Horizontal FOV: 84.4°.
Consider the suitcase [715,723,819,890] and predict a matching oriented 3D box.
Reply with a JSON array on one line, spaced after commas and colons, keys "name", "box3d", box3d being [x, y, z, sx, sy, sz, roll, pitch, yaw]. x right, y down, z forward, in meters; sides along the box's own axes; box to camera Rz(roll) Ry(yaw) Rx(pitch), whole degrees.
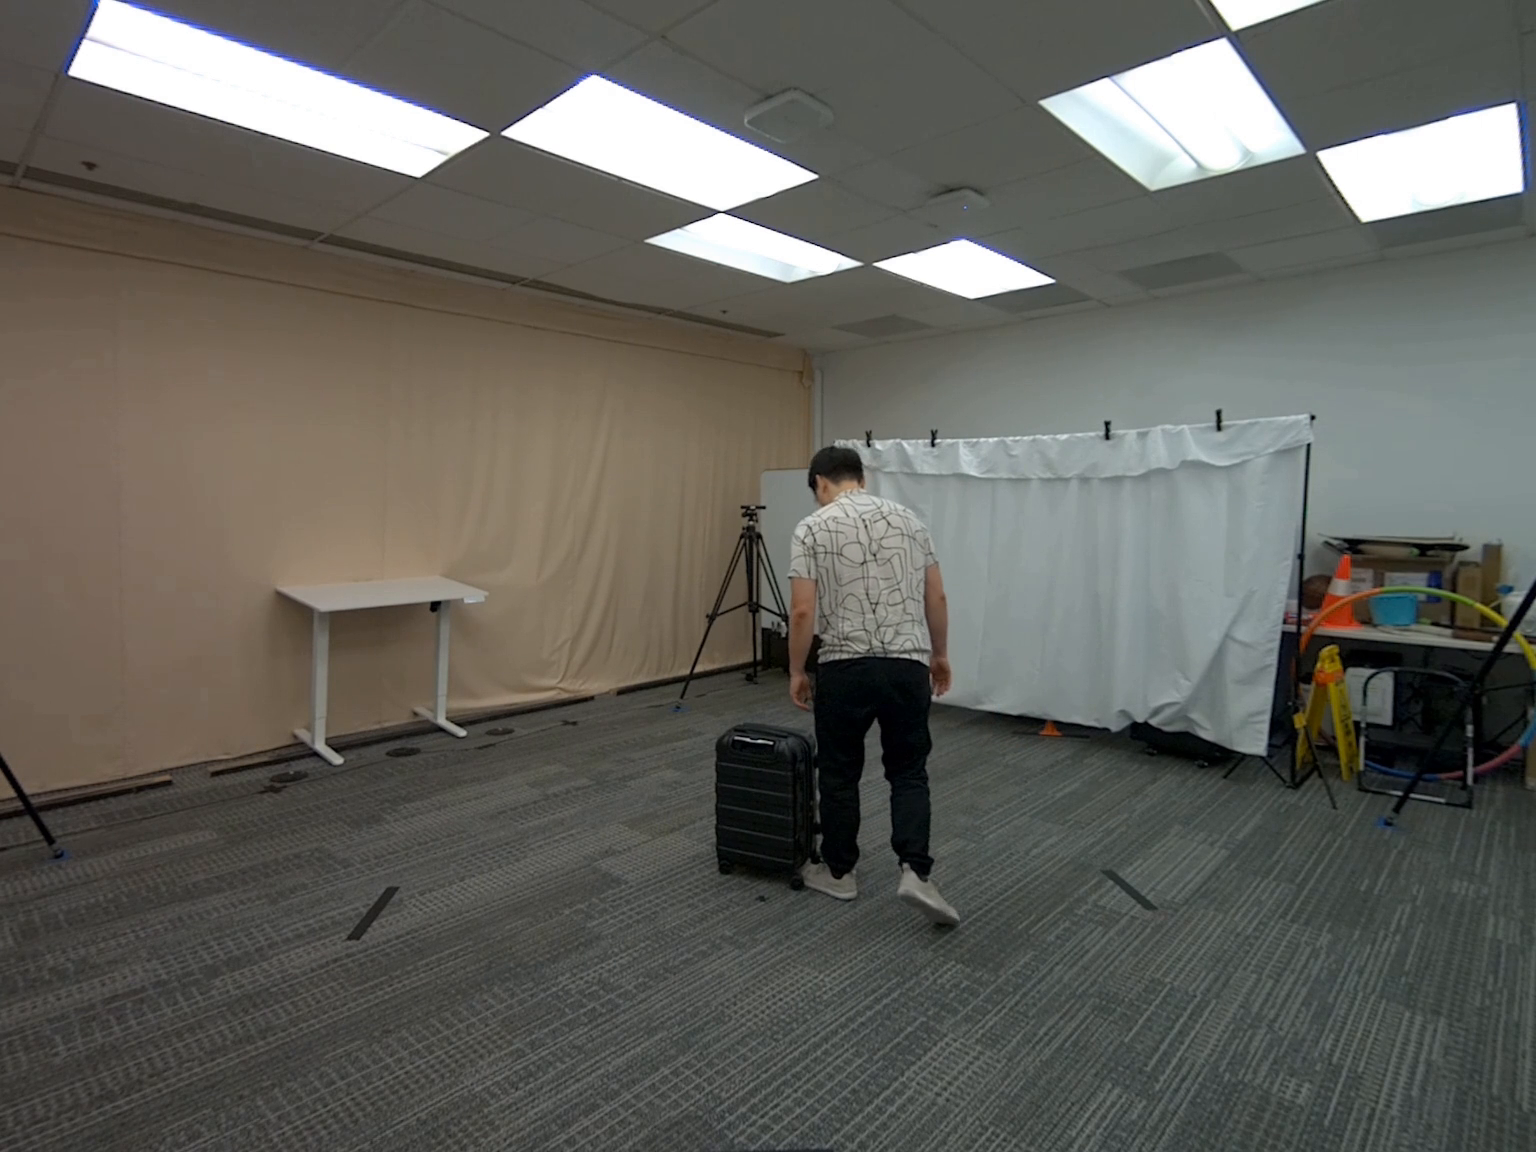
[{"name": "suitcase", "box3d": [-0.008, 0.848, 3.211, 0.385, 0.548, 0.242, 0, 3, 27]}]
